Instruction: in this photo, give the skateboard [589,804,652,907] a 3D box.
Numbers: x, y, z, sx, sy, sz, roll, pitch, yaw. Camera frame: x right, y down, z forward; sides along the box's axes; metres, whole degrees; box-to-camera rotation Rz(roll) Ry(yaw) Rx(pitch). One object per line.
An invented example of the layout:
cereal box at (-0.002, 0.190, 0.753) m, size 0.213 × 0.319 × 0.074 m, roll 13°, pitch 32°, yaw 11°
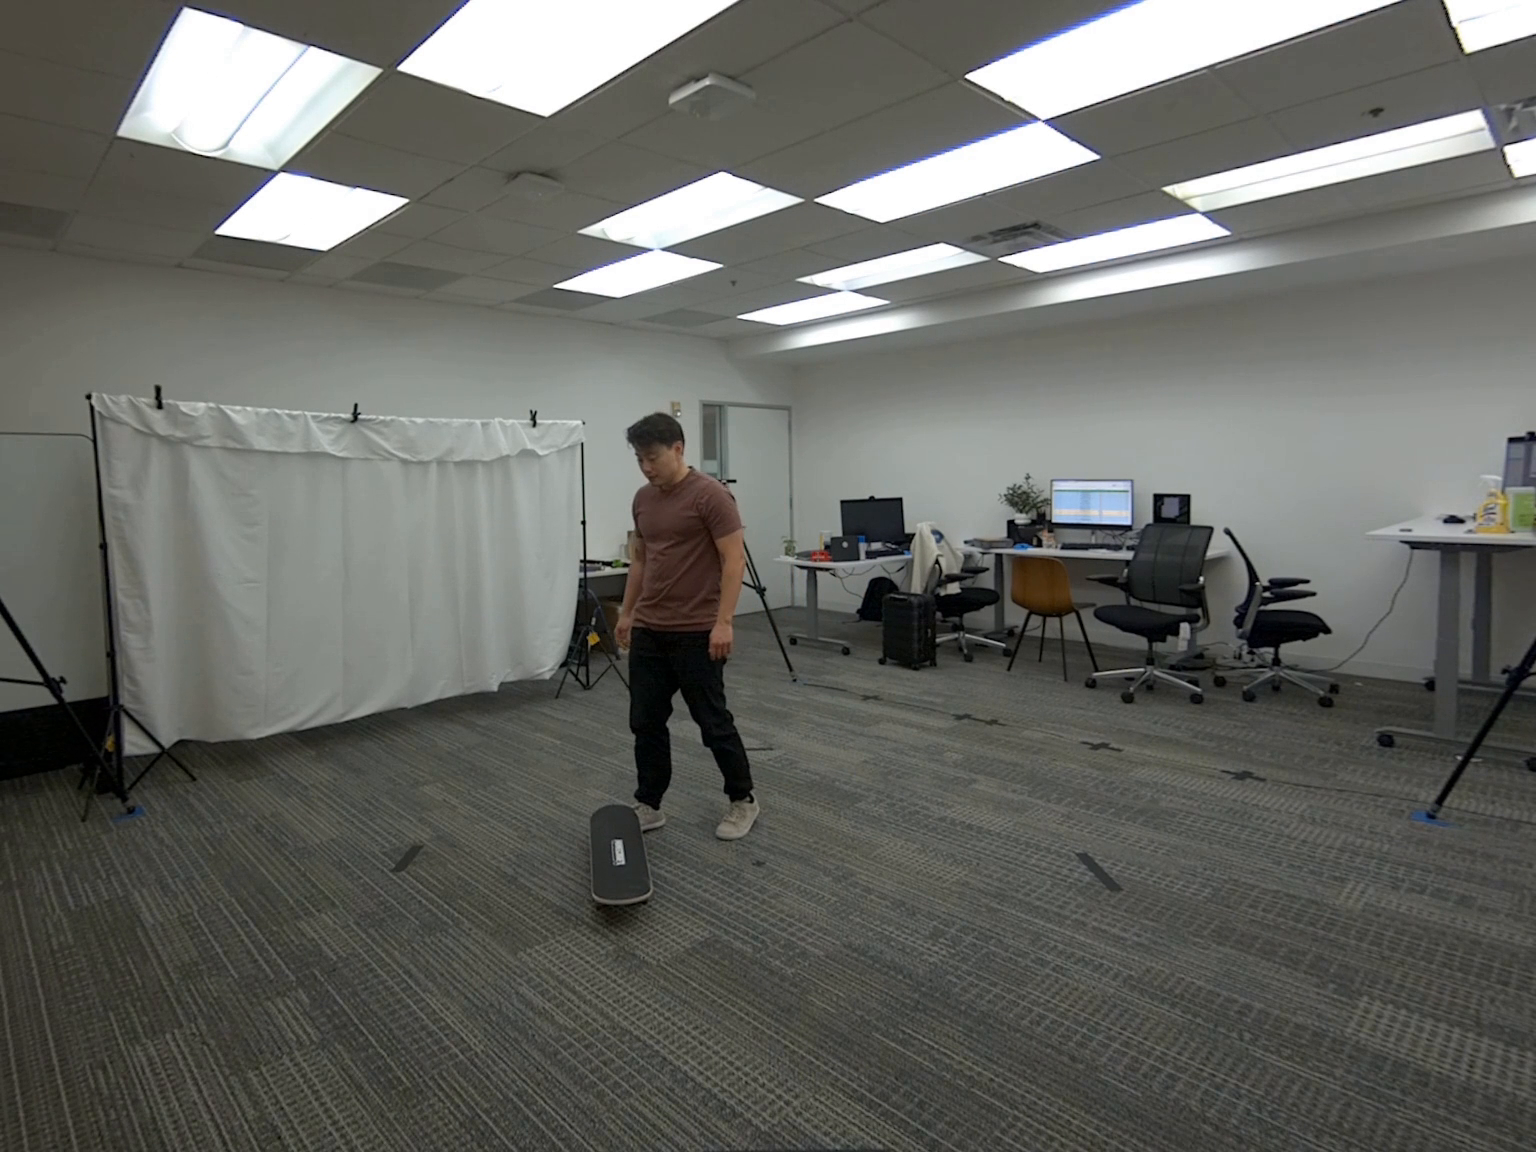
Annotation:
skateboard at (-0.527, 1.012, 3.020) m, size 0.191 × 0.110 × 0.797 m, roll -2°, pitch 7°, yaw -12°
